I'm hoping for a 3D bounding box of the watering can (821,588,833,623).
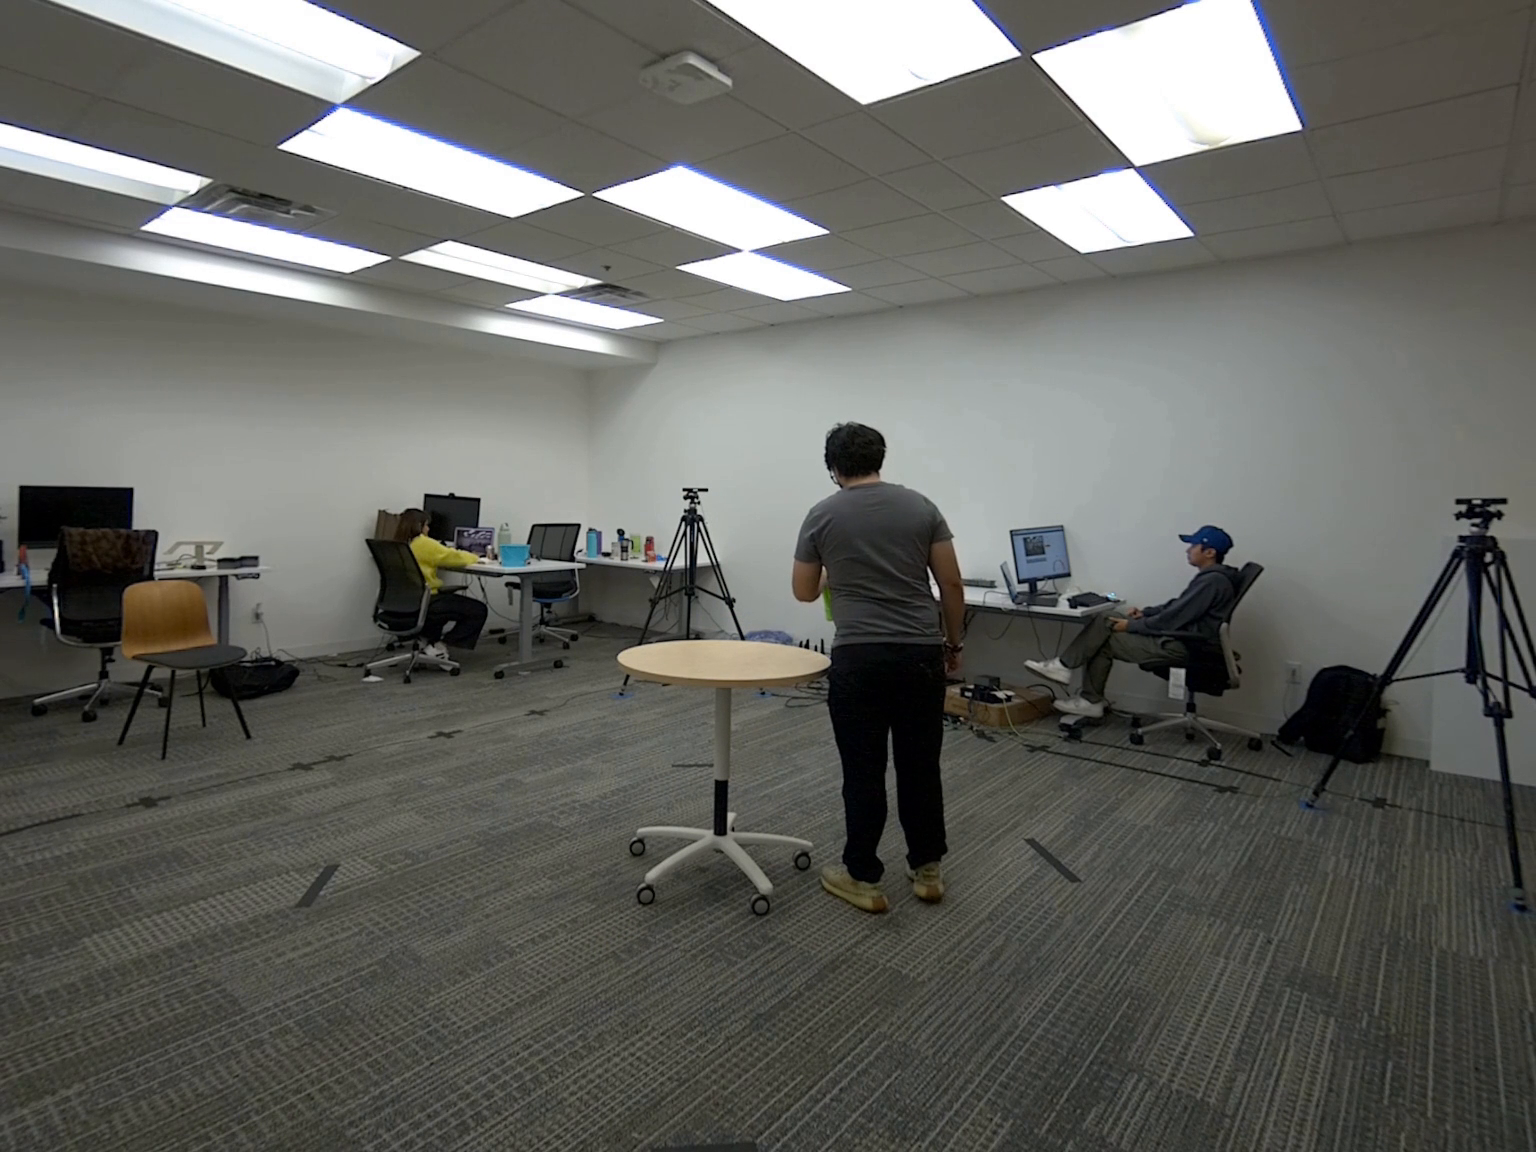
[{"bbox_3d":[0.297,0.072,3.348,0.100,0.177,0.271,-11,1,41],"label":"watering can"}]
